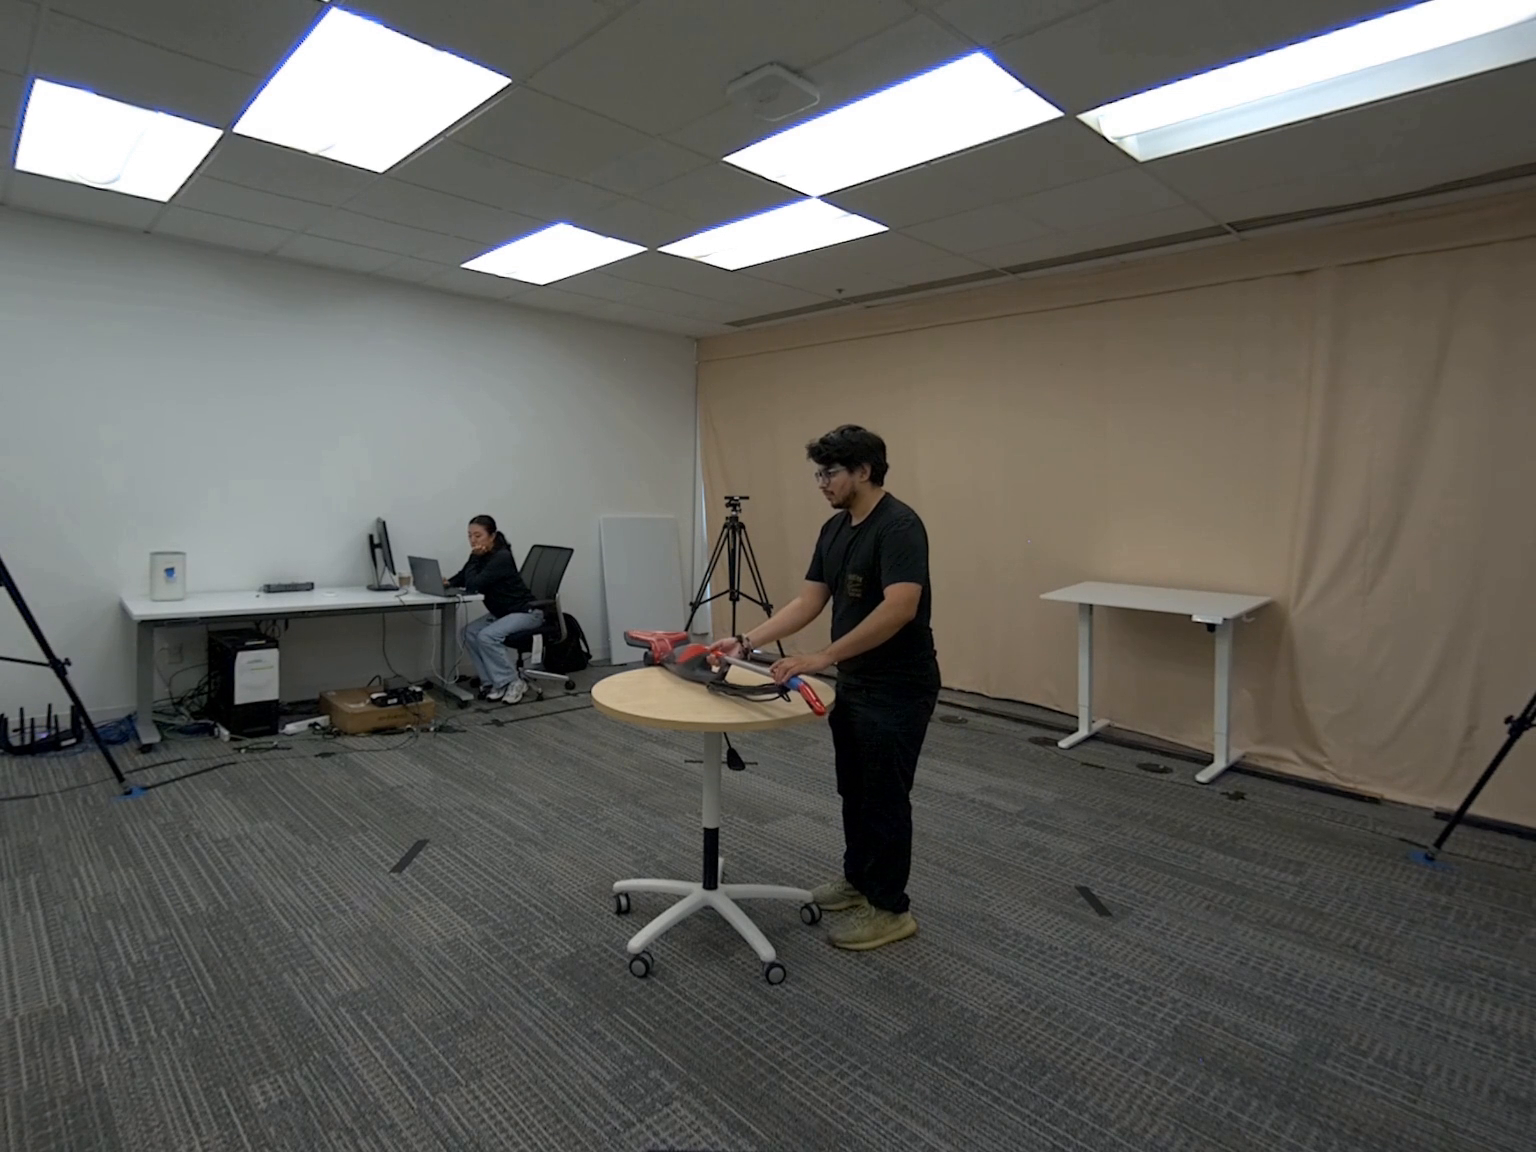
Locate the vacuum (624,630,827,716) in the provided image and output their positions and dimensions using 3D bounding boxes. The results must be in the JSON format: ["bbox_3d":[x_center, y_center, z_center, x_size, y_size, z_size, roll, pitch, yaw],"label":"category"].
[{"bbox_3d":[-0.134,0.314,2.597,0.247,0.144,1.073,1,4,-30],"label":"vacuum"}]
